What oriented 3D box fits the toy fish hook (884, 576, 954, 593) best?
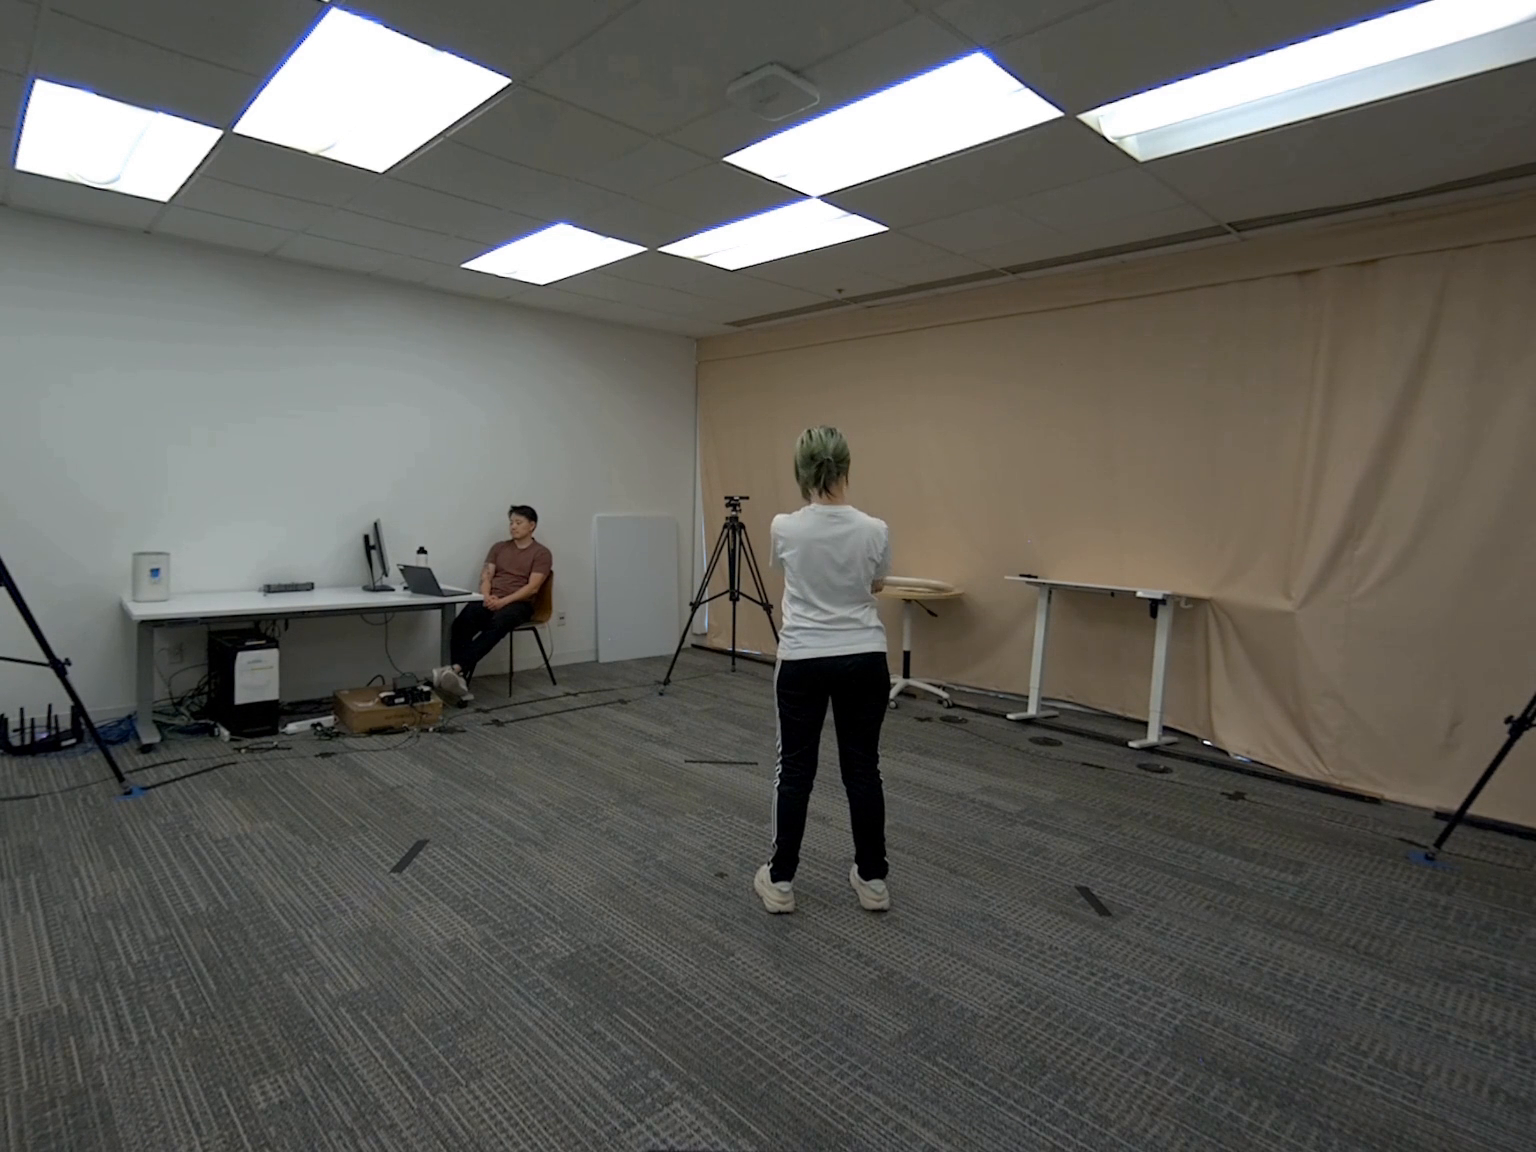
[{"bbox_3d":[0.466,0.032,3.381,0.503,0.049,0.224,6,-11,-8],"label":"toy fish hook"}]
